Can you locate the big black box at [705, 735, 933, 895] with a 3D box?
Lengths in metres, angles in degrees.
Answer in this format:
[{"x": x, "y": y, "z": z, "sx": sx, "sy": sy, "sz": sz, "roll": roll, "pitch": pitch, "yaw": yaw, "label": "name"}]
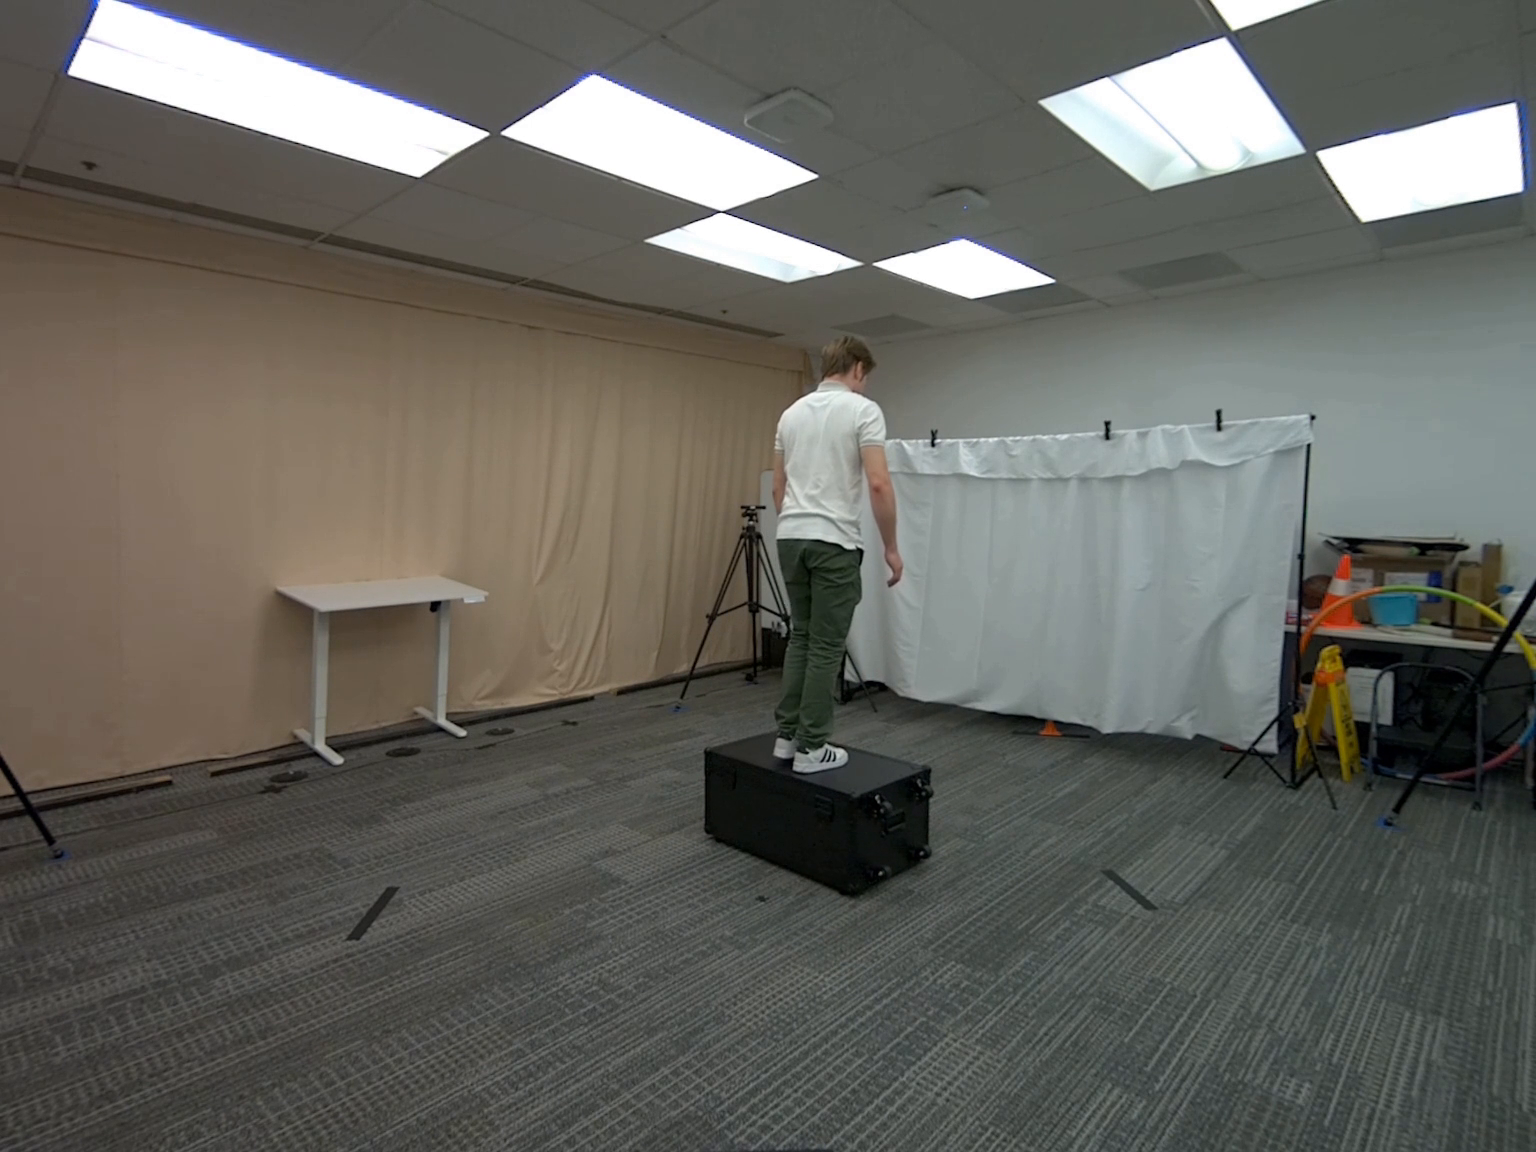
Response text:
[{"x": 0.206, "y": 0.922, "z": 3.374, "sx": 0.890, "sy": 0.395, "sz": 0.505, "roll": 3, "pitch": 5, "yaw": 44, "label": "big black box"}]
